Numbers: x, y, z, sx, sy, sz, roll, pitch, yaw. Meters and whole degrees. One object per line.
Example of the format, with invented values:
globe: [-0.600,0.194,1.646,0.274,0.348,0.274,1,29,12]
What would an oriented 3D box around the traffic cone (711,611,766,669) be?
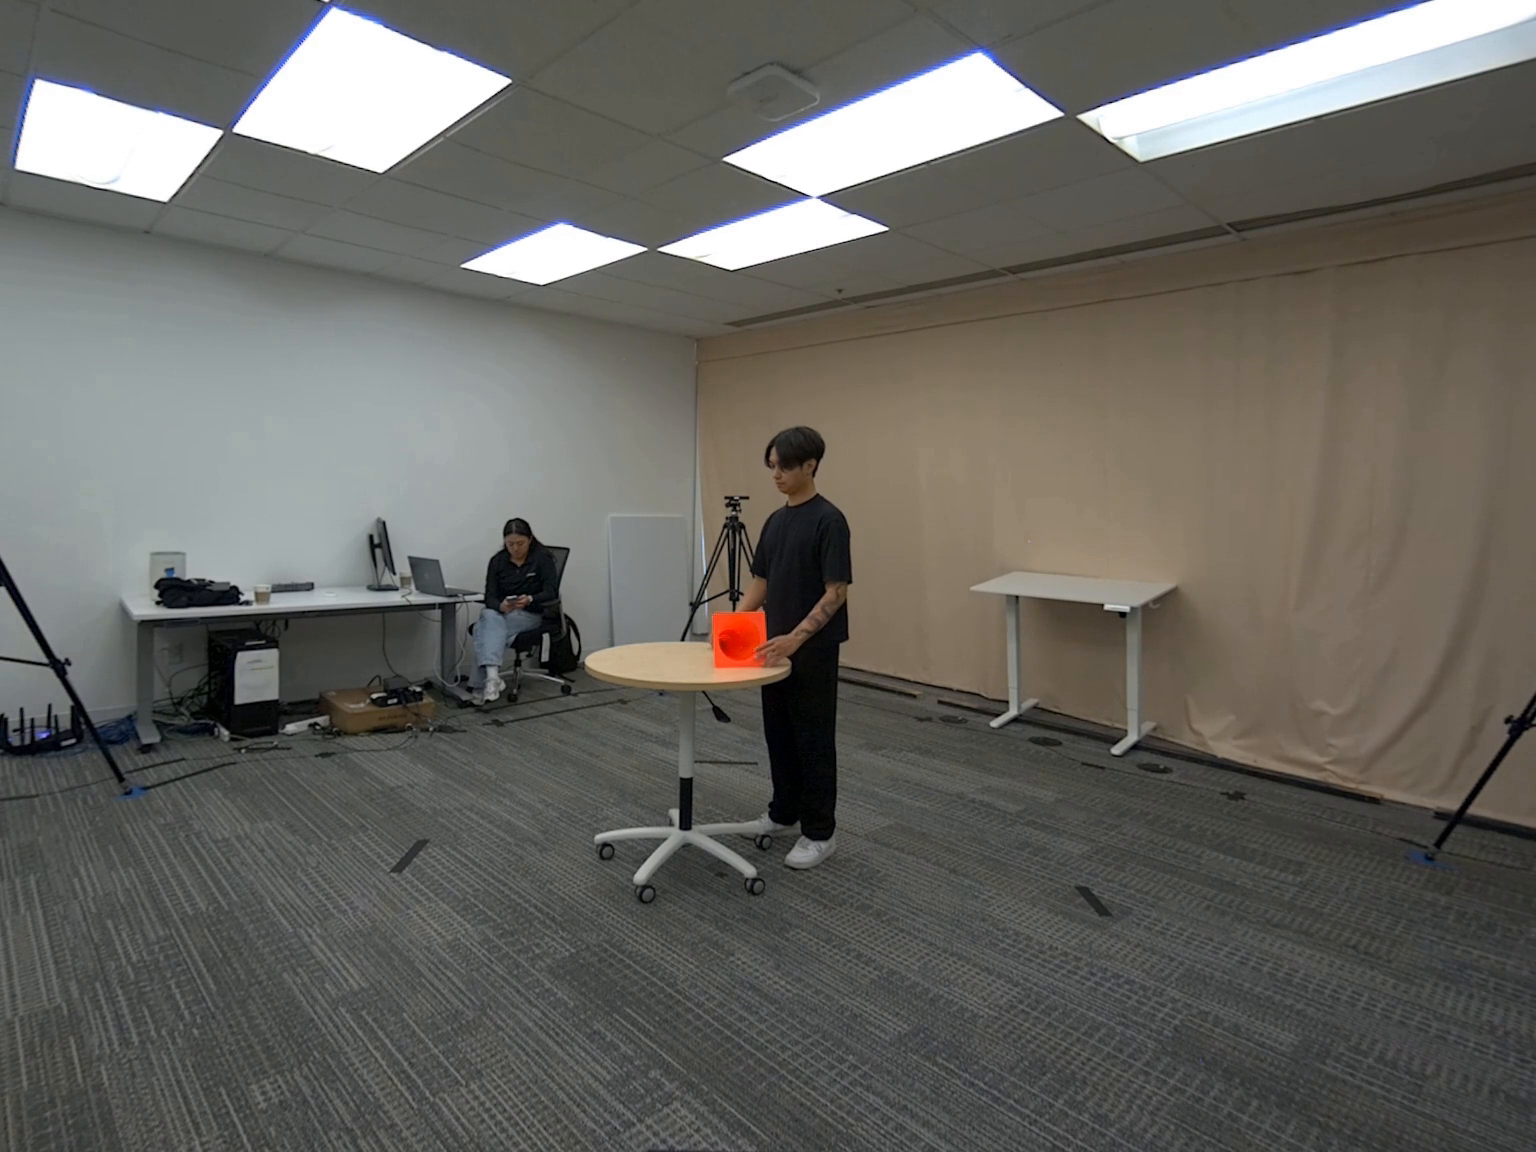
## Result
traffic cone: [-0.160,0.255,3.237,0.202,0.204,0.386,2,-8,-16]
